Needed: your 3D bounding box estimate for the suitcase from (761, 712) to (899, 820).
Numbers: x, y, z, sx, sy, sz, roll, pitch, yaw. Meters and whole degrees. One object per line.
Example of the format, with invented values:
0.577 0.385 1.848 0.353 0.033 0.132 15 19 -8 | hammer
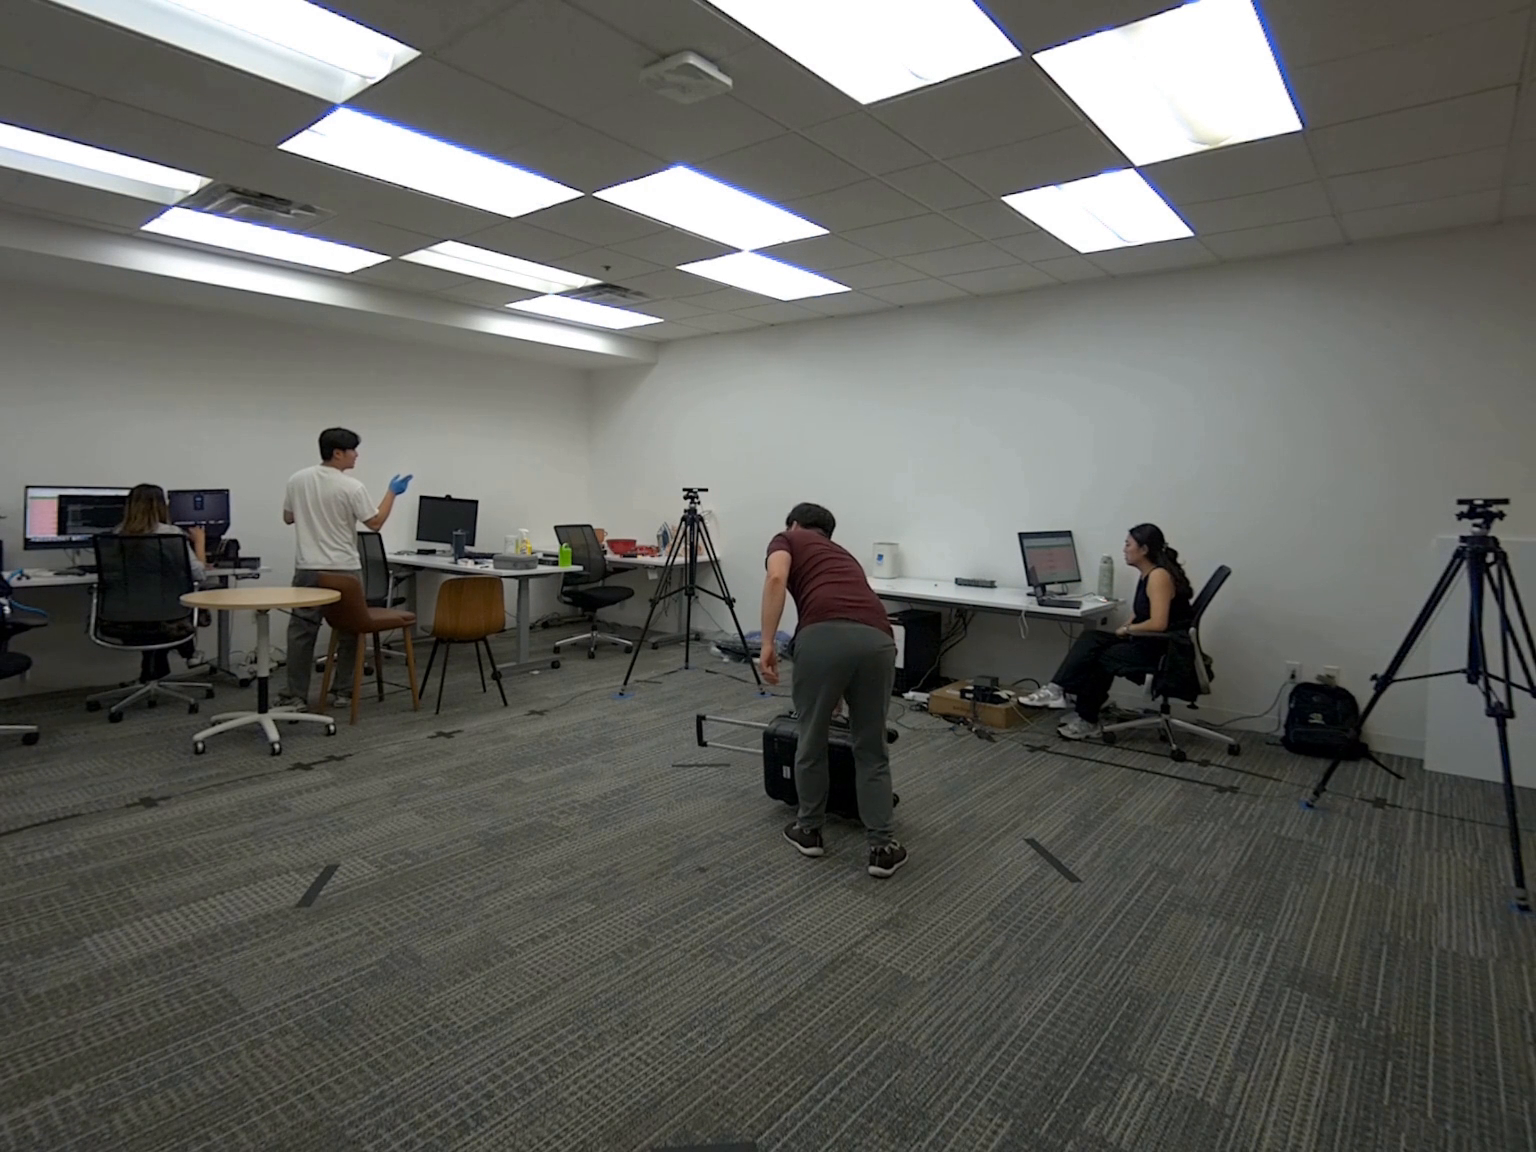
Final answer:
0.052 0.772 3.736 1.005 0.380 0.253 5 13 26 | suitcase
